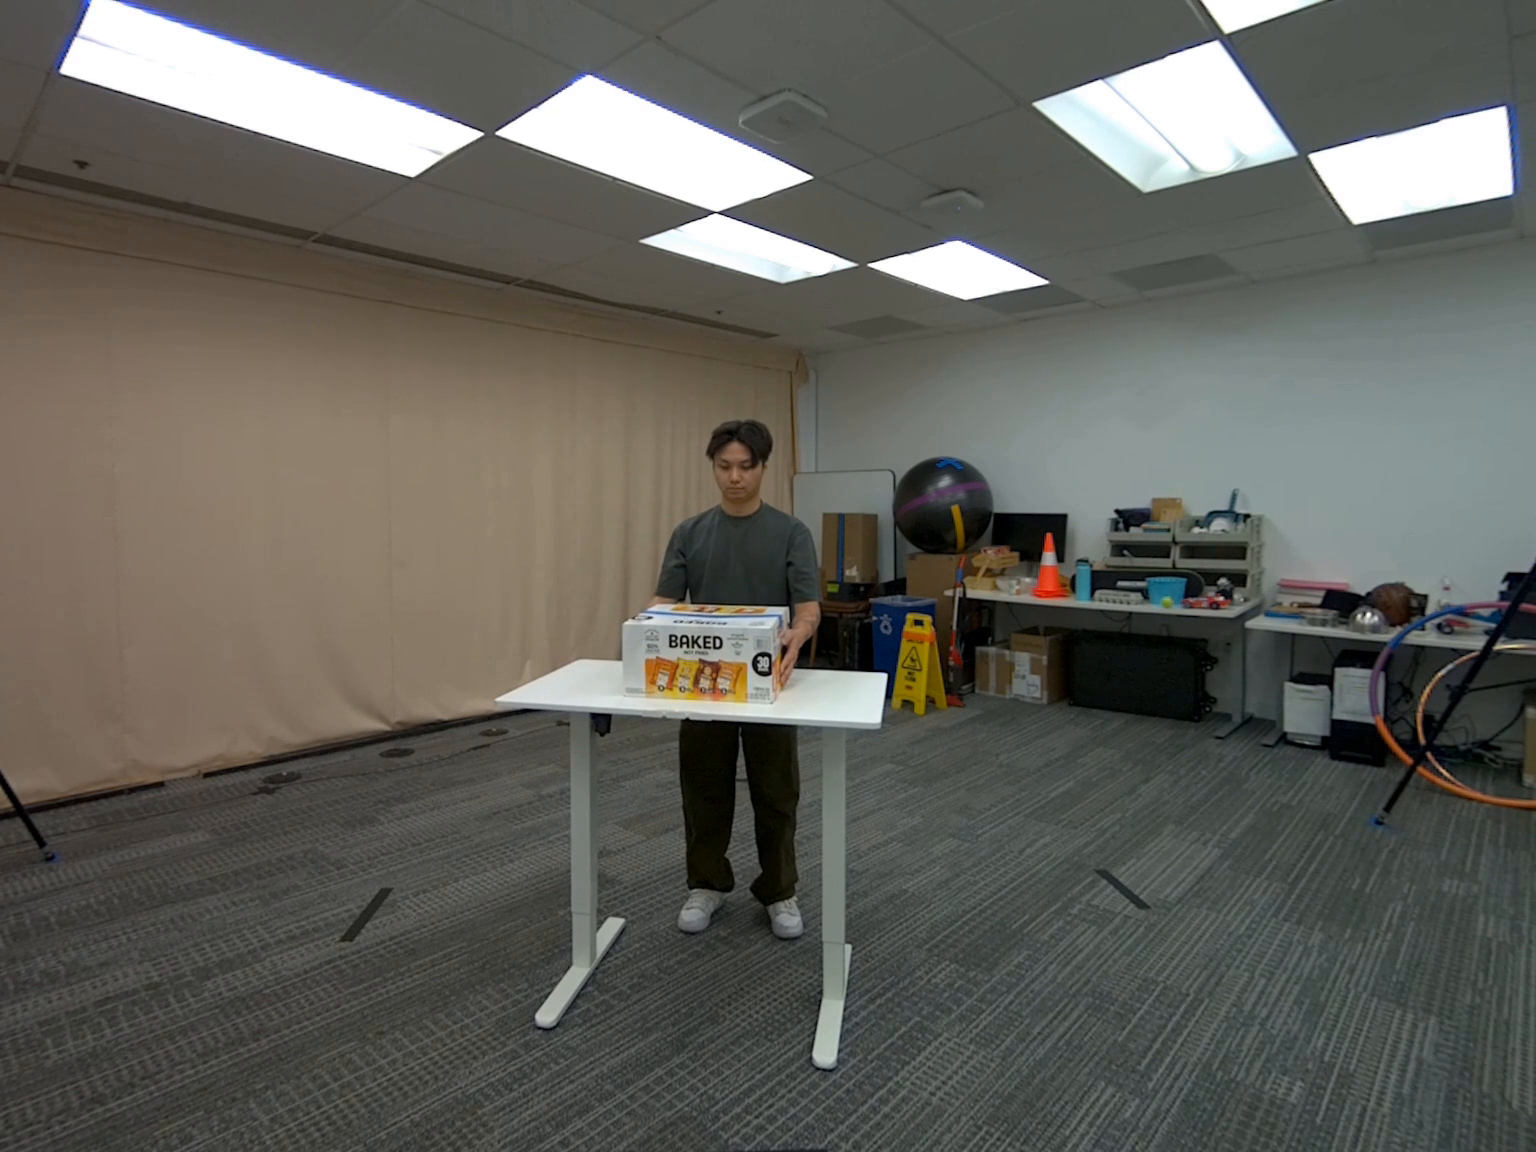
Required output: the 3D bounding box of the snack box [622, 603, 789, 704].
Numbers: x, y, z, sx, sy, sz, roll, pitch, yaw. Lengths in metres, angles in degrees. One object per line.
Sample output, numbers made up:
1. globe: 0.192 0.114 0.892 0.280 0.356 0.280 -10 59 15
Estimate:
1. snack box: -0.161 0.208 2.374 0.410 0.205 0.337 1 6 11
